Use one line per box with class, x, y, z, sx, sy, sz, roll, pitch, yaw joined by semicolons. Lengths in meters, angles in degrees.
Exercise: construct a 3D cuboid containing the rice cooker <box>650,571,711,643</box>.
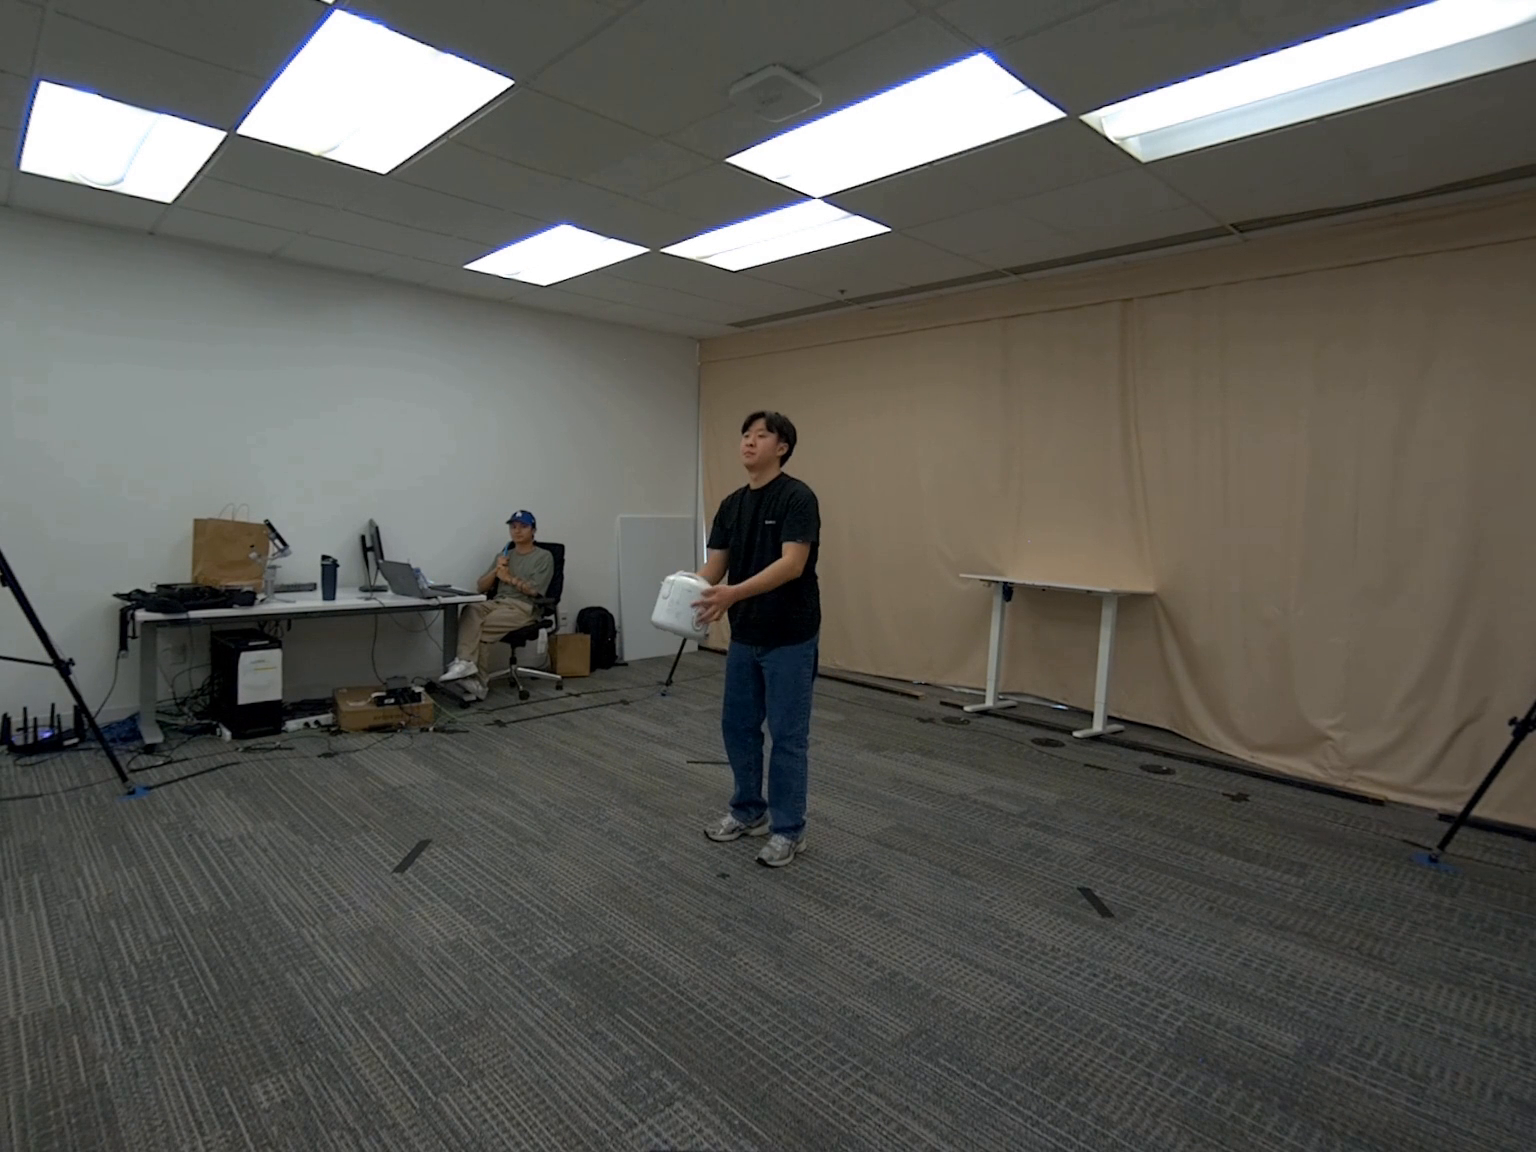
rice cooker;-0.296;0.115;3.071;0.214;0.233;0.223;23;-9;-40
